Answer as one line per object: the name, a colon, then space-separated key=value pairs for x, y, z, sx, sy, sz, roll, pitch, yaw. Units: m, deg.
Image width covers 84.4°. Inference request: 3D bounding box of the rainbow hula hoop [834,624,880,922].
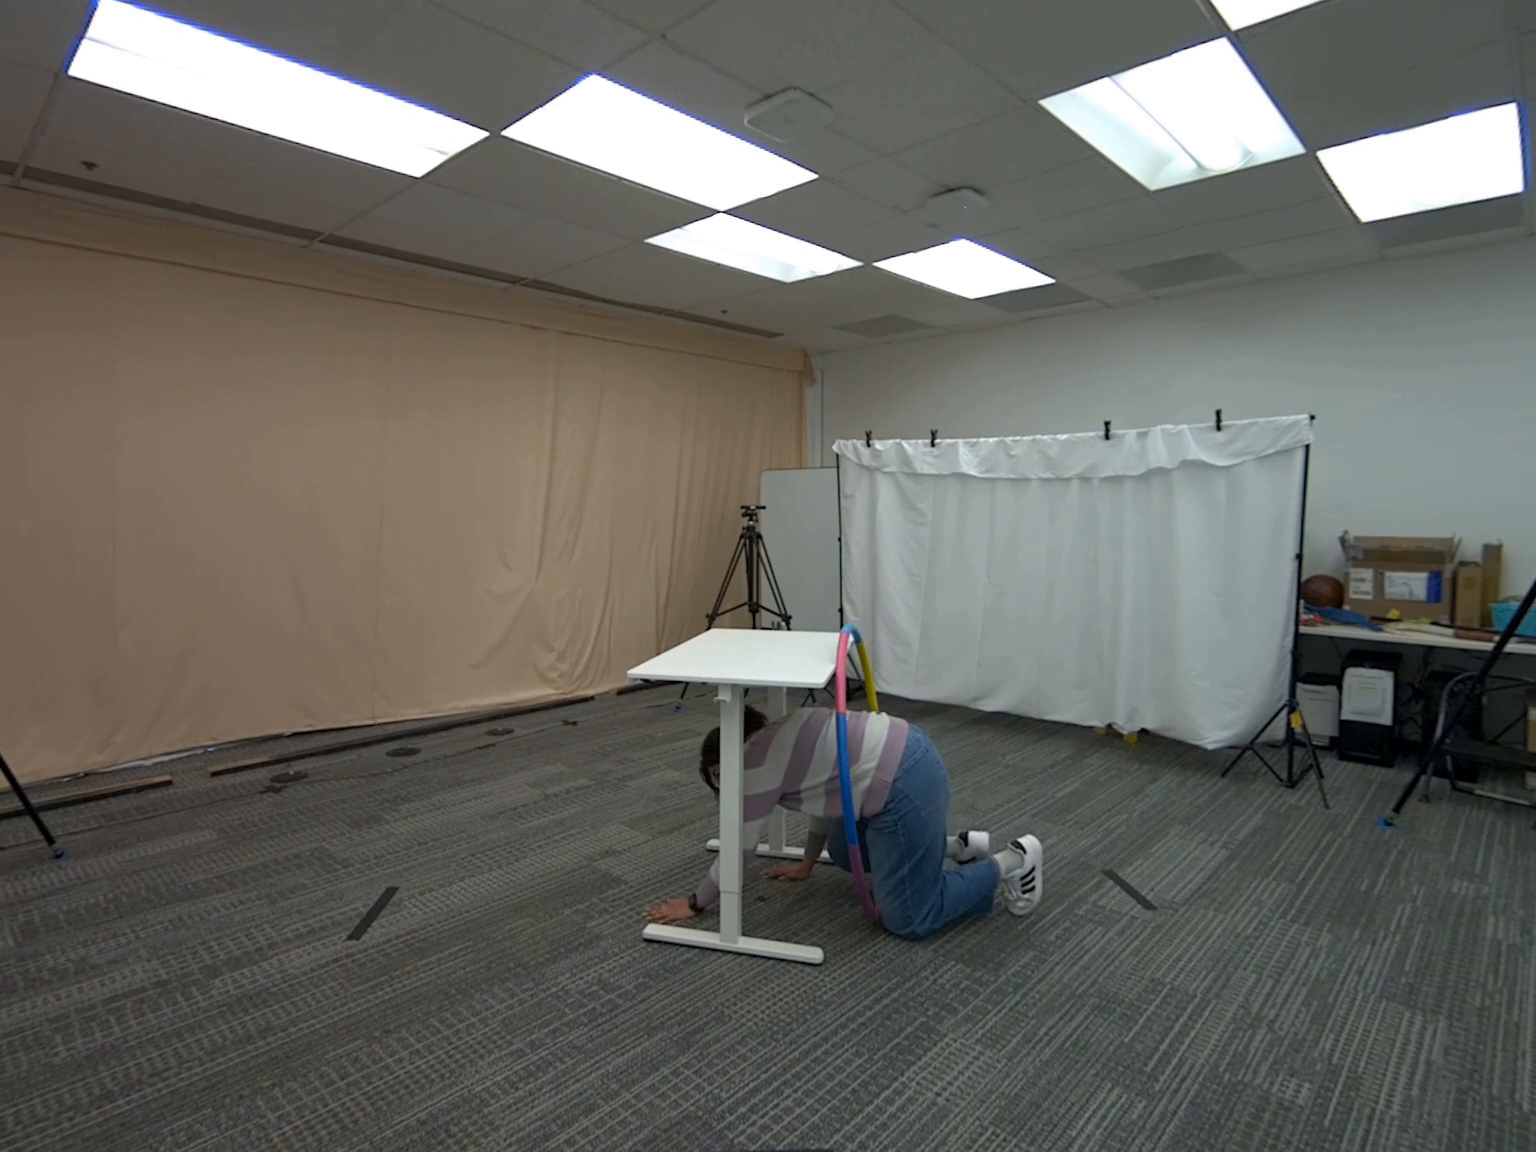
rainbow hula hoop: x=0.343 y=0.667 z=2.928 sx=0.036 sy=0.978 sz=0.965 roll=-7 pitch=2 yaw=13
